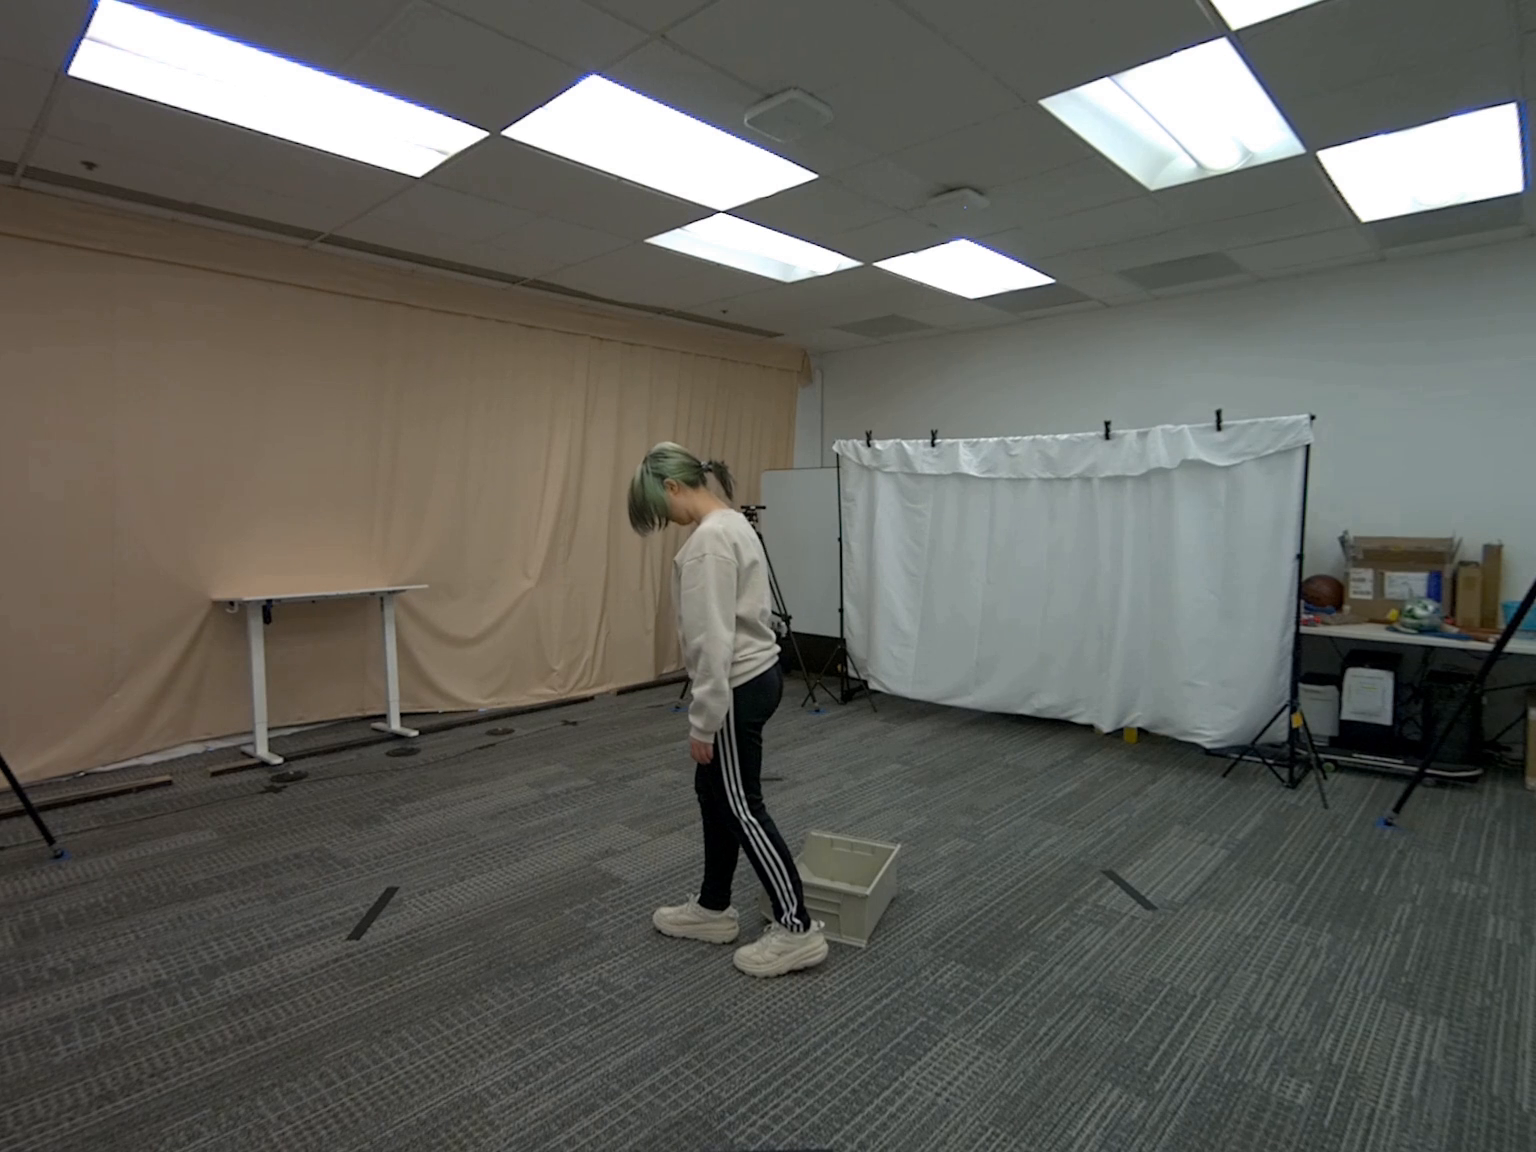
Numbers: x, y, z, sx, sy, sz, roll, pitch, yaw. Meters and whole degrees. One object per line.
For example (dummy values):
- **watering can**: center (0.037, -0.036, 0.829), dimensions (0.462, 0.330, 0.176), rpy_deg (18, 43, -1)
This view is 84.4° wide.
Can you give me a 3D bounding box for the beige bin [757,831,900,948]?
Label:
- **beige bin**: center (0.225, 1.061, 2.903), dimensions (0.387, 0.188, 0.413), rpy_deg (3, 5, 24)
